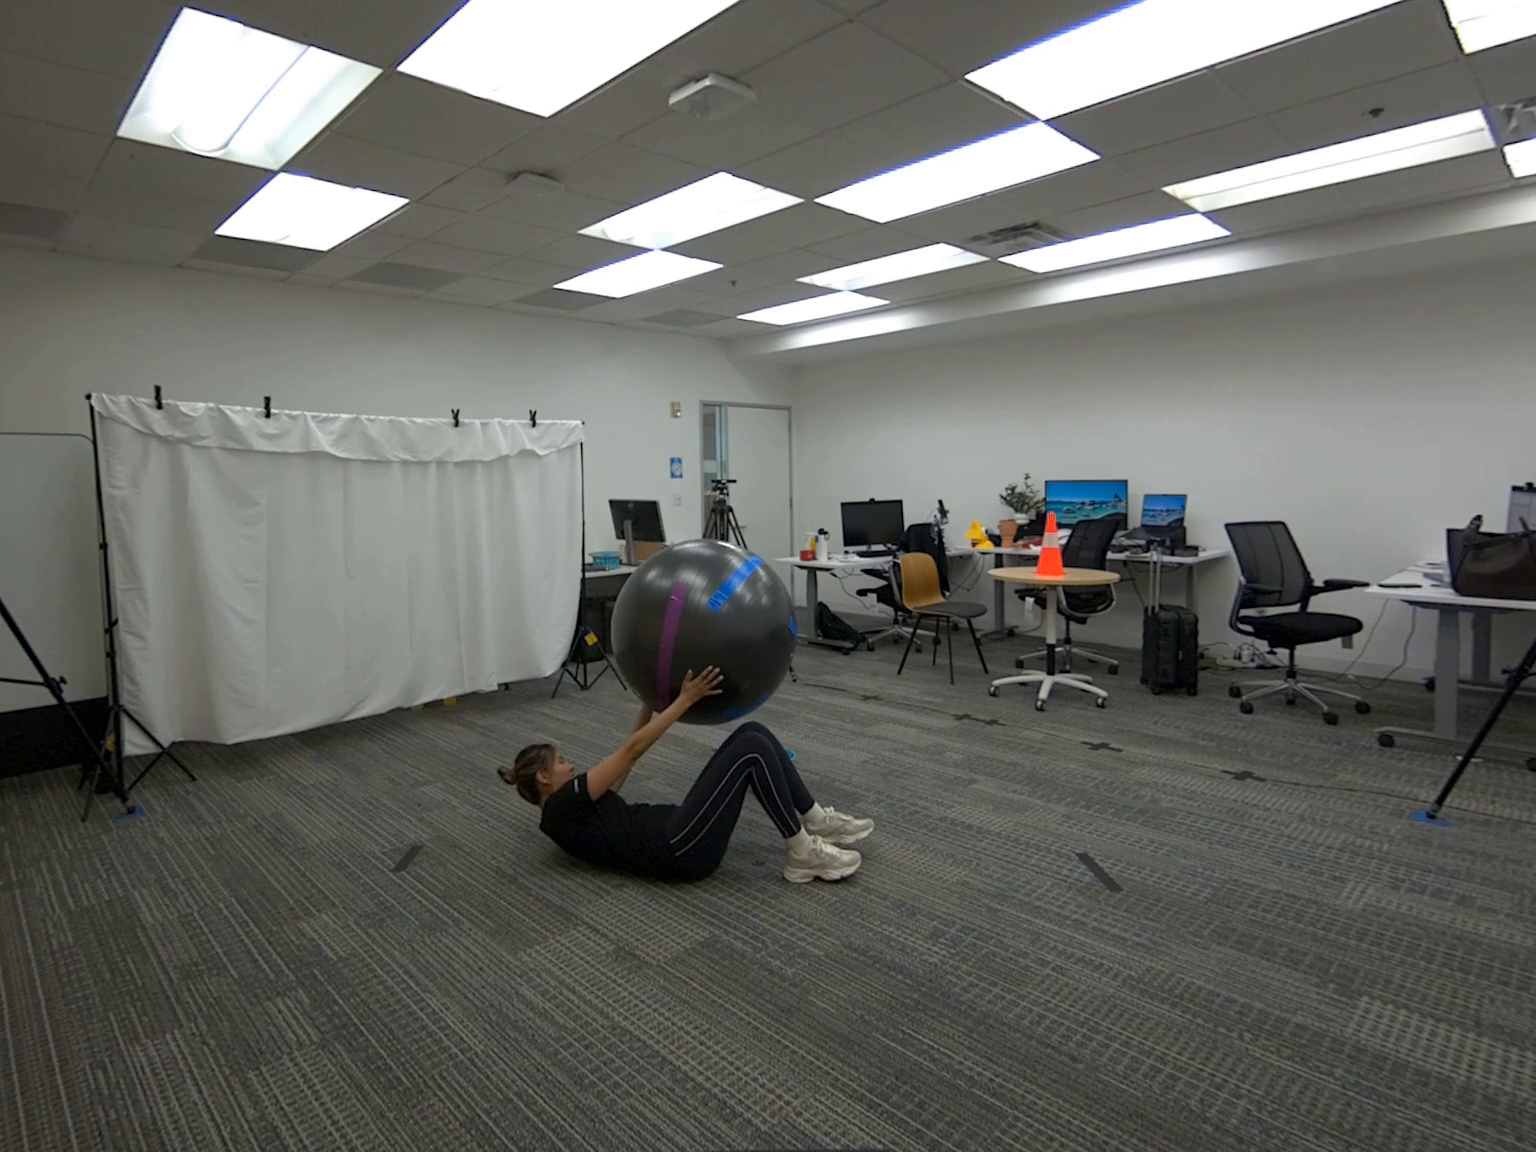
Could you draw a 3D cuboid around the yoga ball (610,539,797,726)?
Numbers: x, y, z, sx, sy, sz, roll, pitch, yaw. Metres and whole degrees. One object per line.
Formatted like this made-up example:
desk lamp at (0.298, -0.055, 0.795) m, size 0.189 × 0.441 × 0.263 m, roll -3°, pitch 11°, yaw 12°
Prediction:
yoga ball at (-0.268, 0.229, 3.504) m, size 0.757 × 0.755 × 0.762 m, roll -1°, pitch 5°, yaw -2°
